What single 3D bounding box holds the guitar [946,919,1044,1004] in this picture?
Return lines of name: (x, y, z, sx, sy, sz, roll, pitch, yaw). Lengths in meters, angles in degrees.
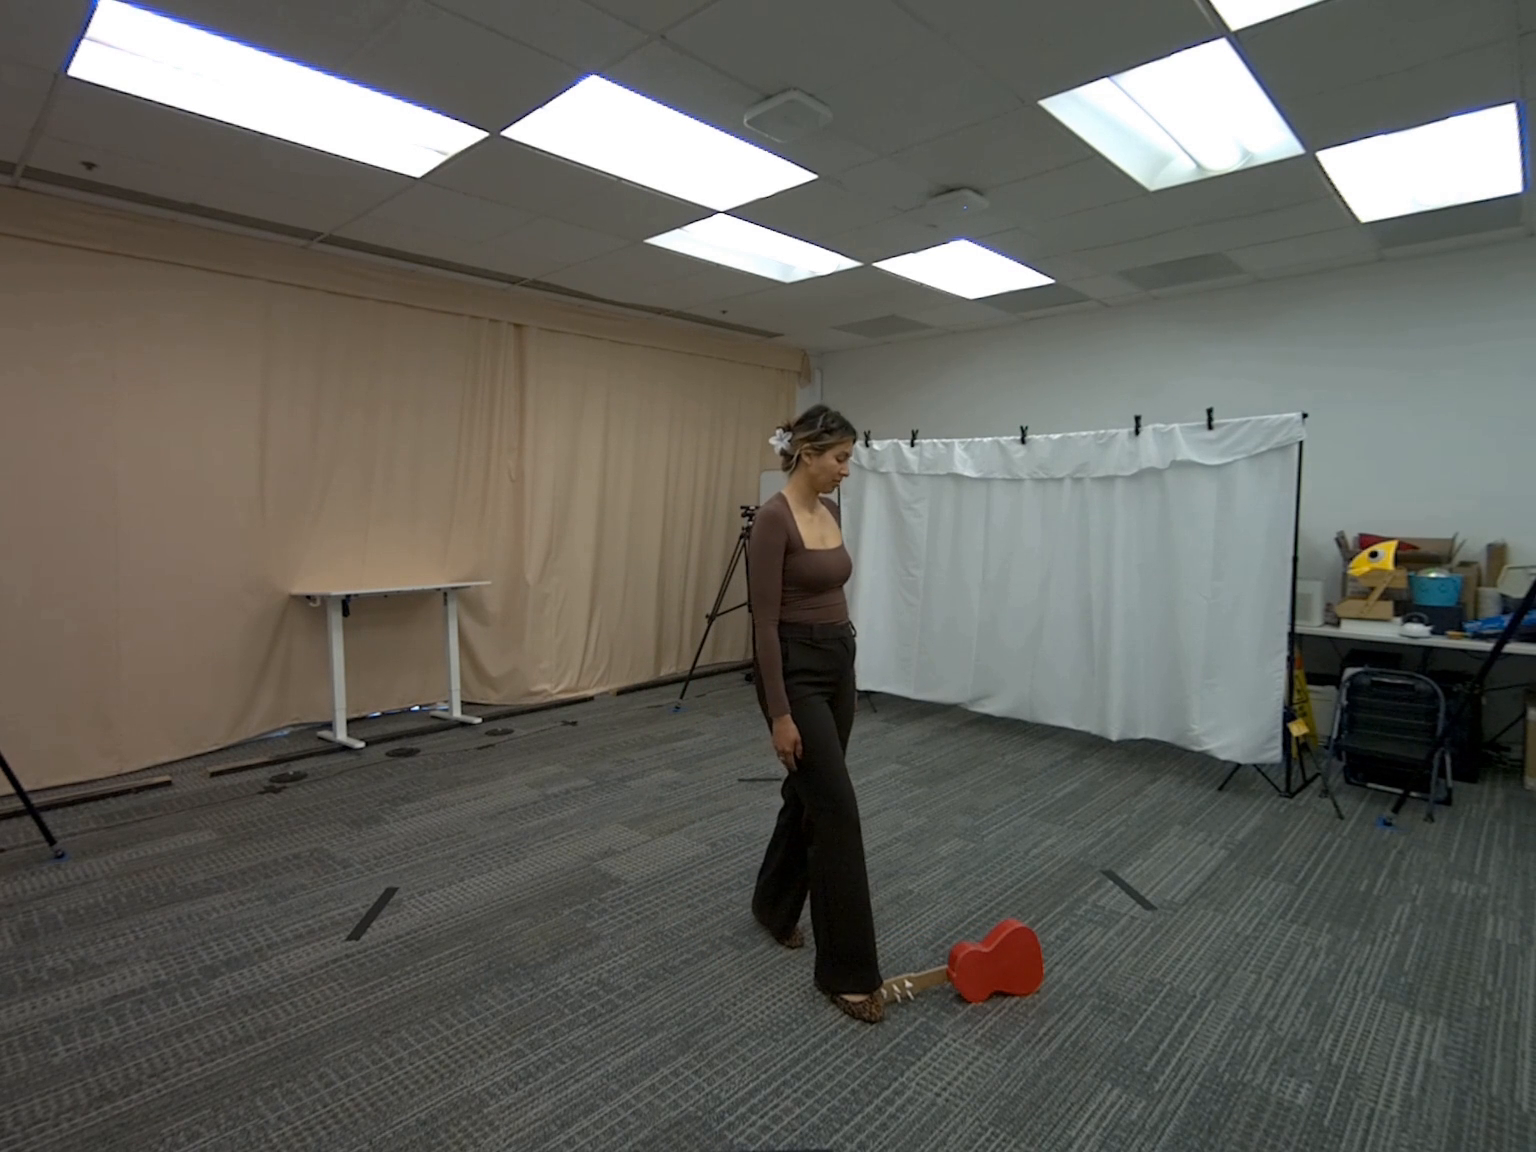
guitar: (0.555, 1.153, 2.375, 0.493, 0.192, 0.071, -19, 5, -10)
